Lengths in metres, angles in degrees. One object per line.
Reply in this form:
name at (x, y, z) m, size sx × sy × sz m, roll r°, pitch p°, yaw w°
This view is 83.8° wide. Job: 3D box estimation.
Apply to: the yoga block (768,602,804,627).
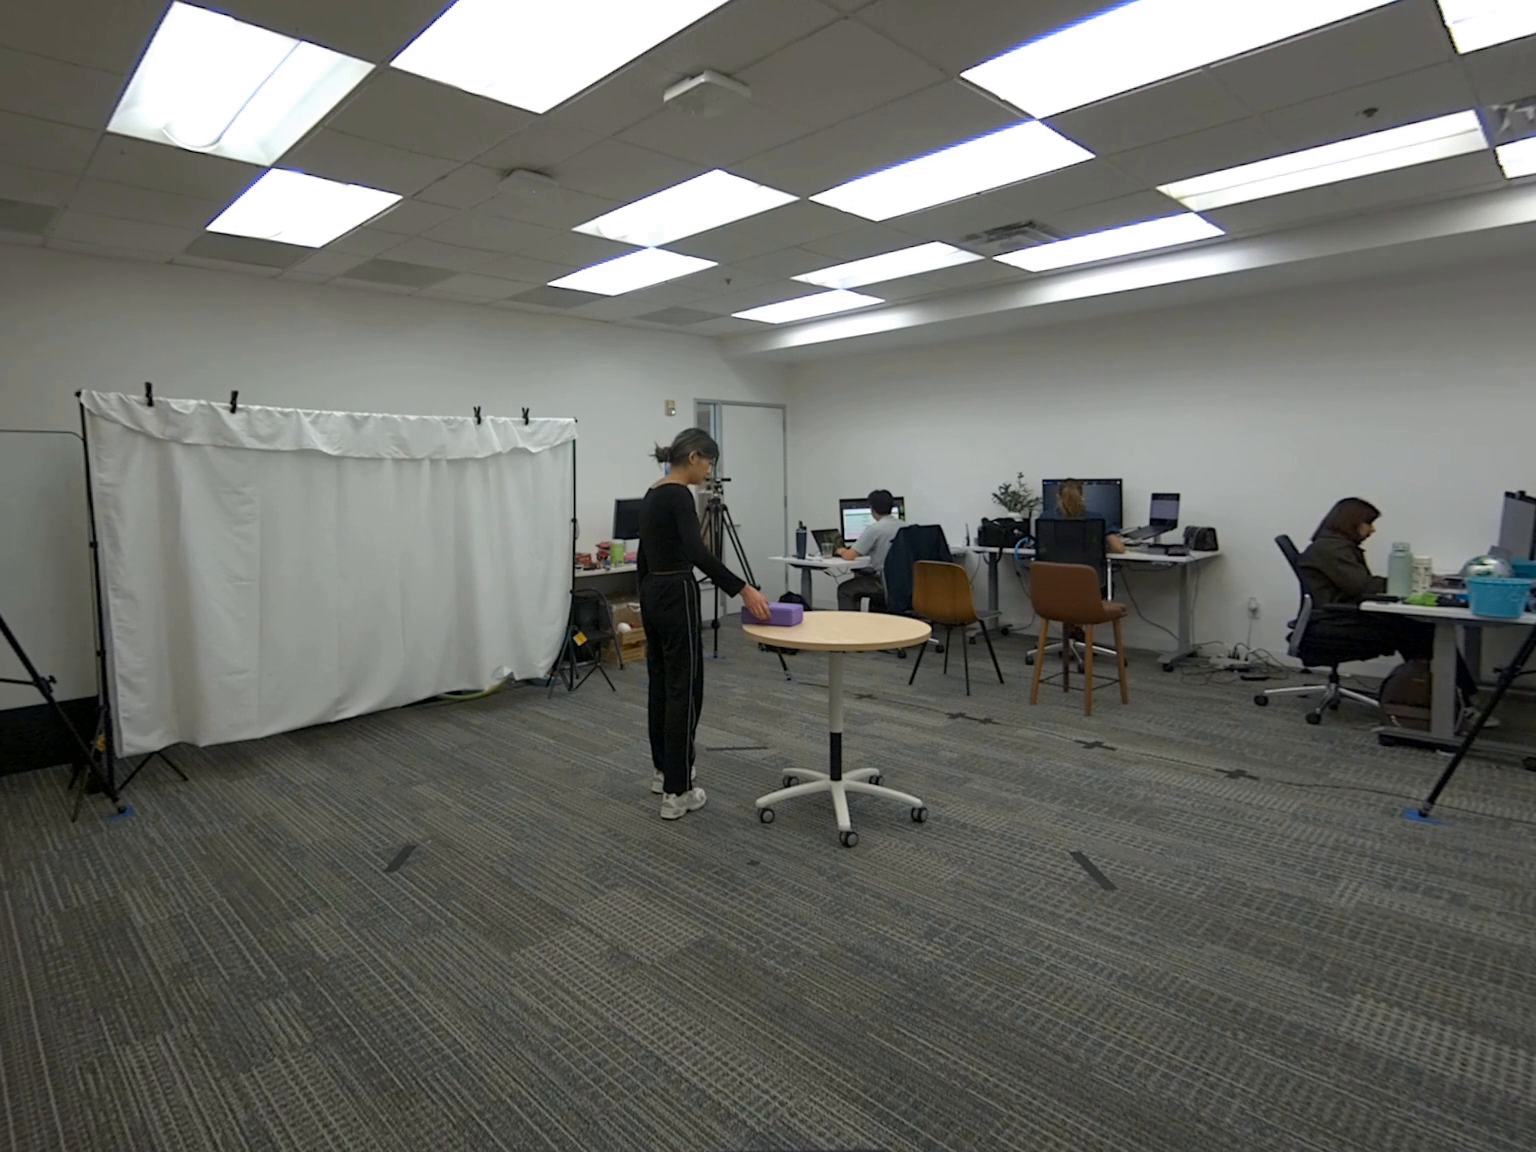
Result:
yoga block at (0.021, 0.160, 3.596) m, size 0.235 × 0.076 × 0.146 m, roll 3°, pitch 5°, yaw 25°
